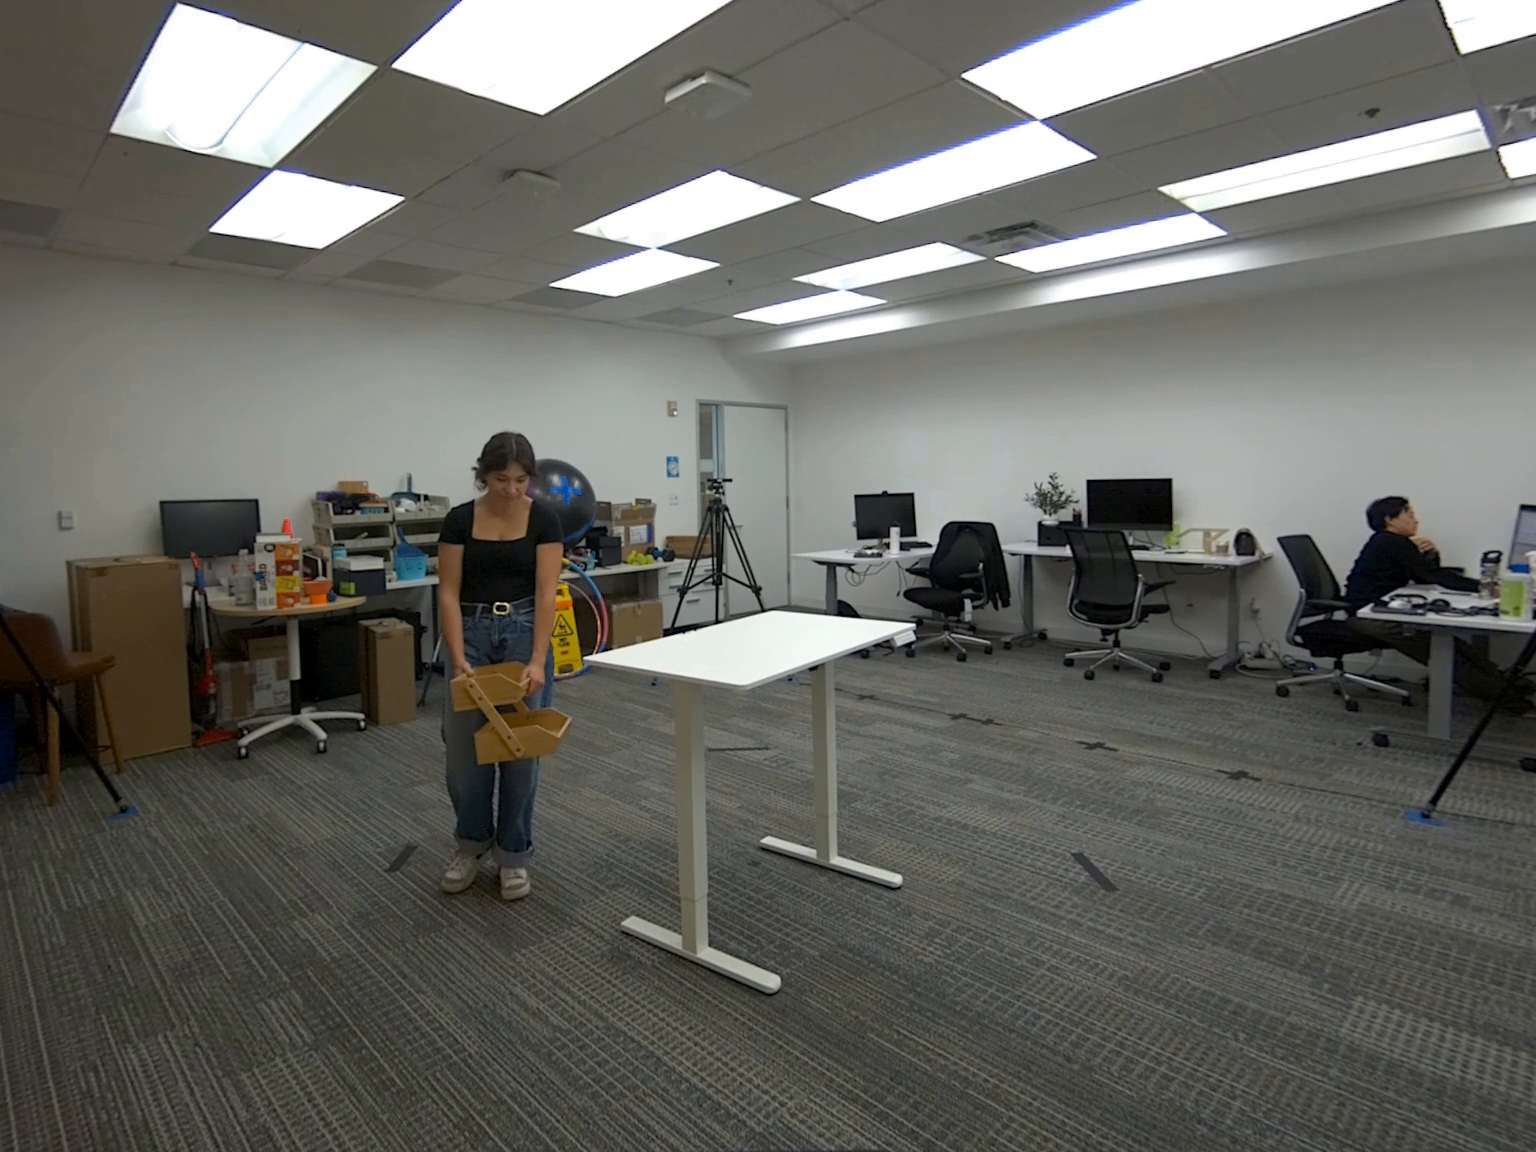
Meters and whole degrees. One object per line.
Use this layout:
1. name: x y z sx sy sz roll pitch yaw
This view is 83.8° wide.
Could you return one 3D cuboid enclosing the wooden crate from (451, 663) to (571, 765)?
1. wooden crate: -0.793 0.423 2.693 0.302 0.274 0.324 -9 -1 0
